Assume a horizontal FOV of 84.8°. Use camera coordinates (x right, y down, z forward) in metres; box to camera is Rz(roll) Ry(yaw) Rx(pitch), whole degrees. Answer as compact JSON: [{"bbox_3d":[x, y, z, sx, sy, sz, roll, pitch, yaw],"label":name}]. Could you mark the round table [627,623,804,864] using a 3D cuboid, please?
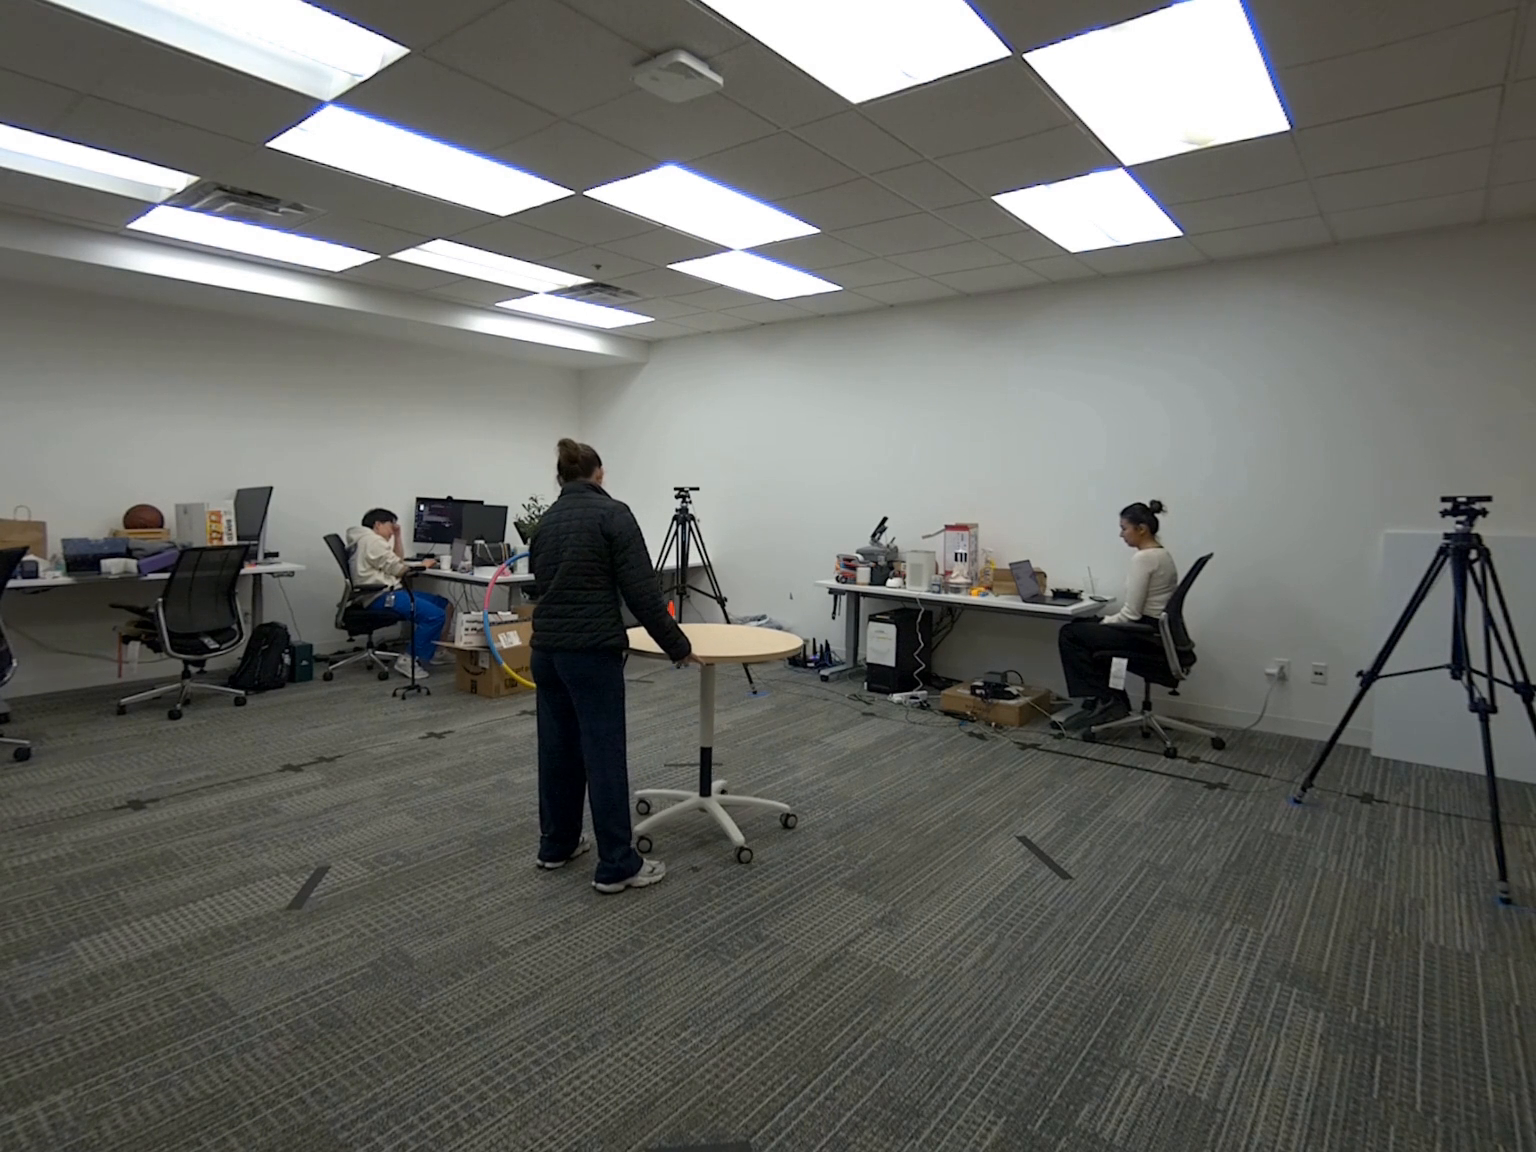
[{"bbox_3d":[-0.243,0.636,3.459,0.784,0.785,0.788,1,3,-2],"label":"round table"}]
